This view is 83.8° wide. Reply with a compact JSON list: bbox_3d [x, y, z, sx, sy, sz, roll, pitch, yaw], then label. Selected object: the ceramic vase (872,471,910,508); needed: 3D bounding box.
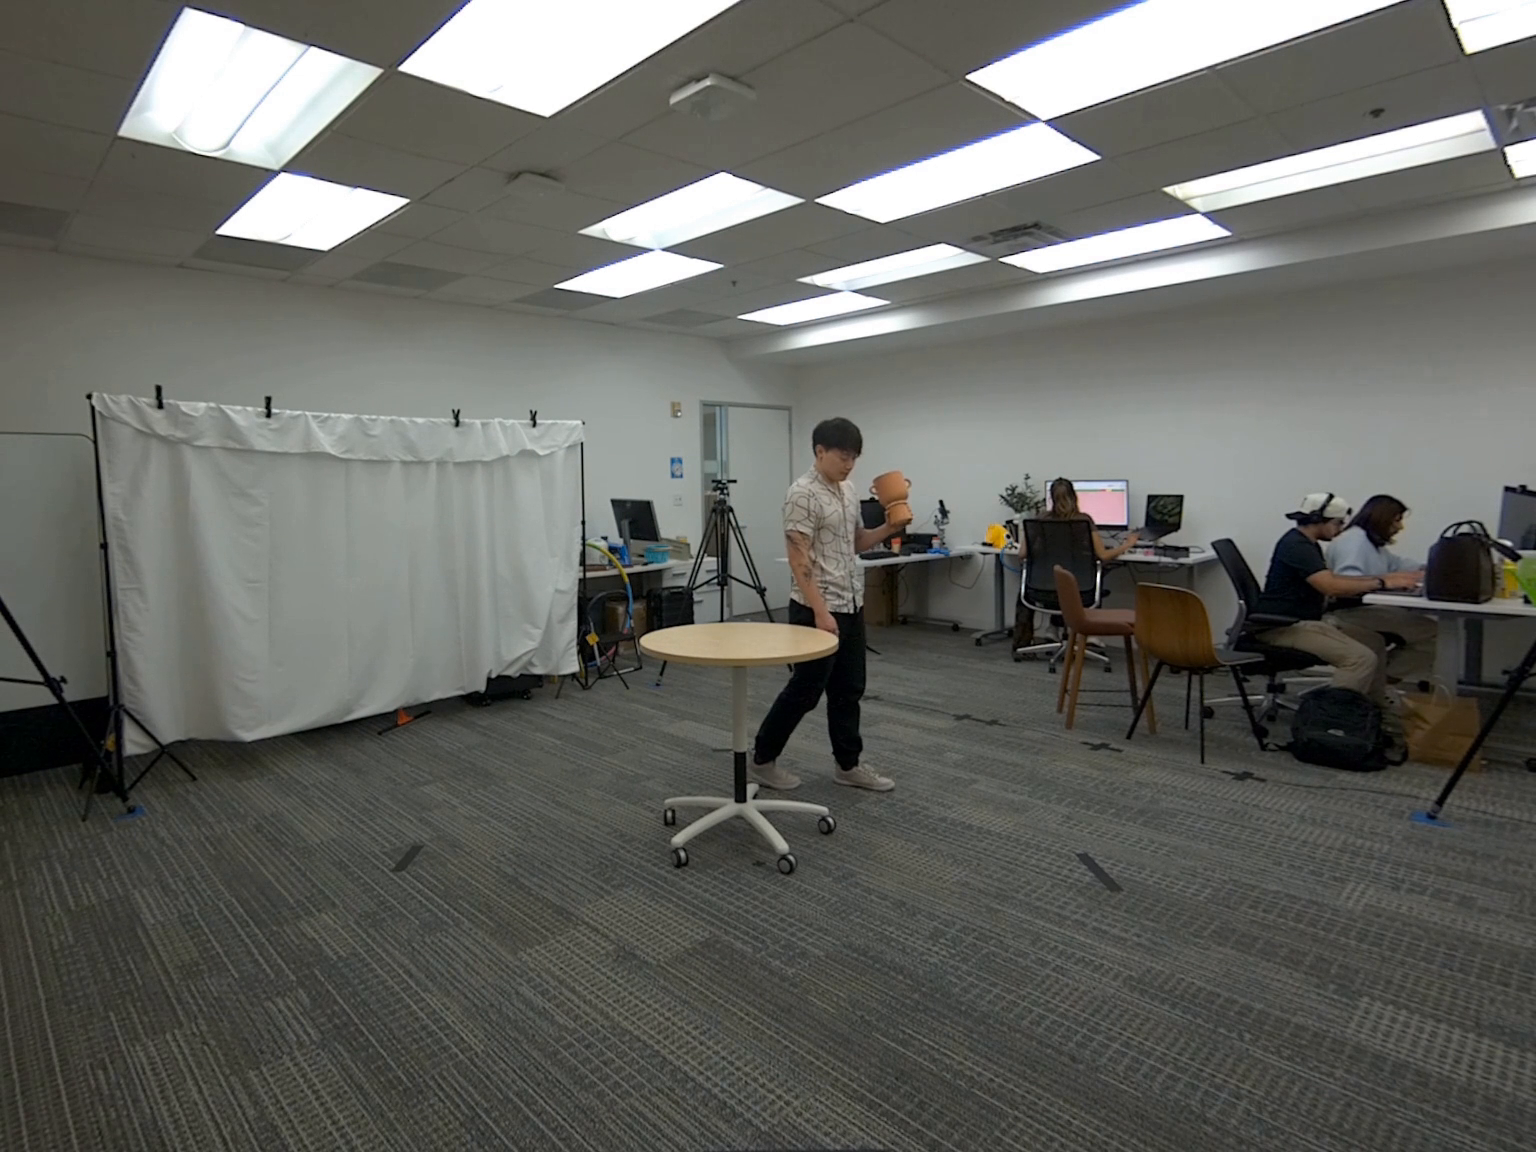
[{"bbox_3d":[0.554,-0.337,3.773,0.161,0.223,0.130,-23,-16,29],"label":"ceramic vase"}]
